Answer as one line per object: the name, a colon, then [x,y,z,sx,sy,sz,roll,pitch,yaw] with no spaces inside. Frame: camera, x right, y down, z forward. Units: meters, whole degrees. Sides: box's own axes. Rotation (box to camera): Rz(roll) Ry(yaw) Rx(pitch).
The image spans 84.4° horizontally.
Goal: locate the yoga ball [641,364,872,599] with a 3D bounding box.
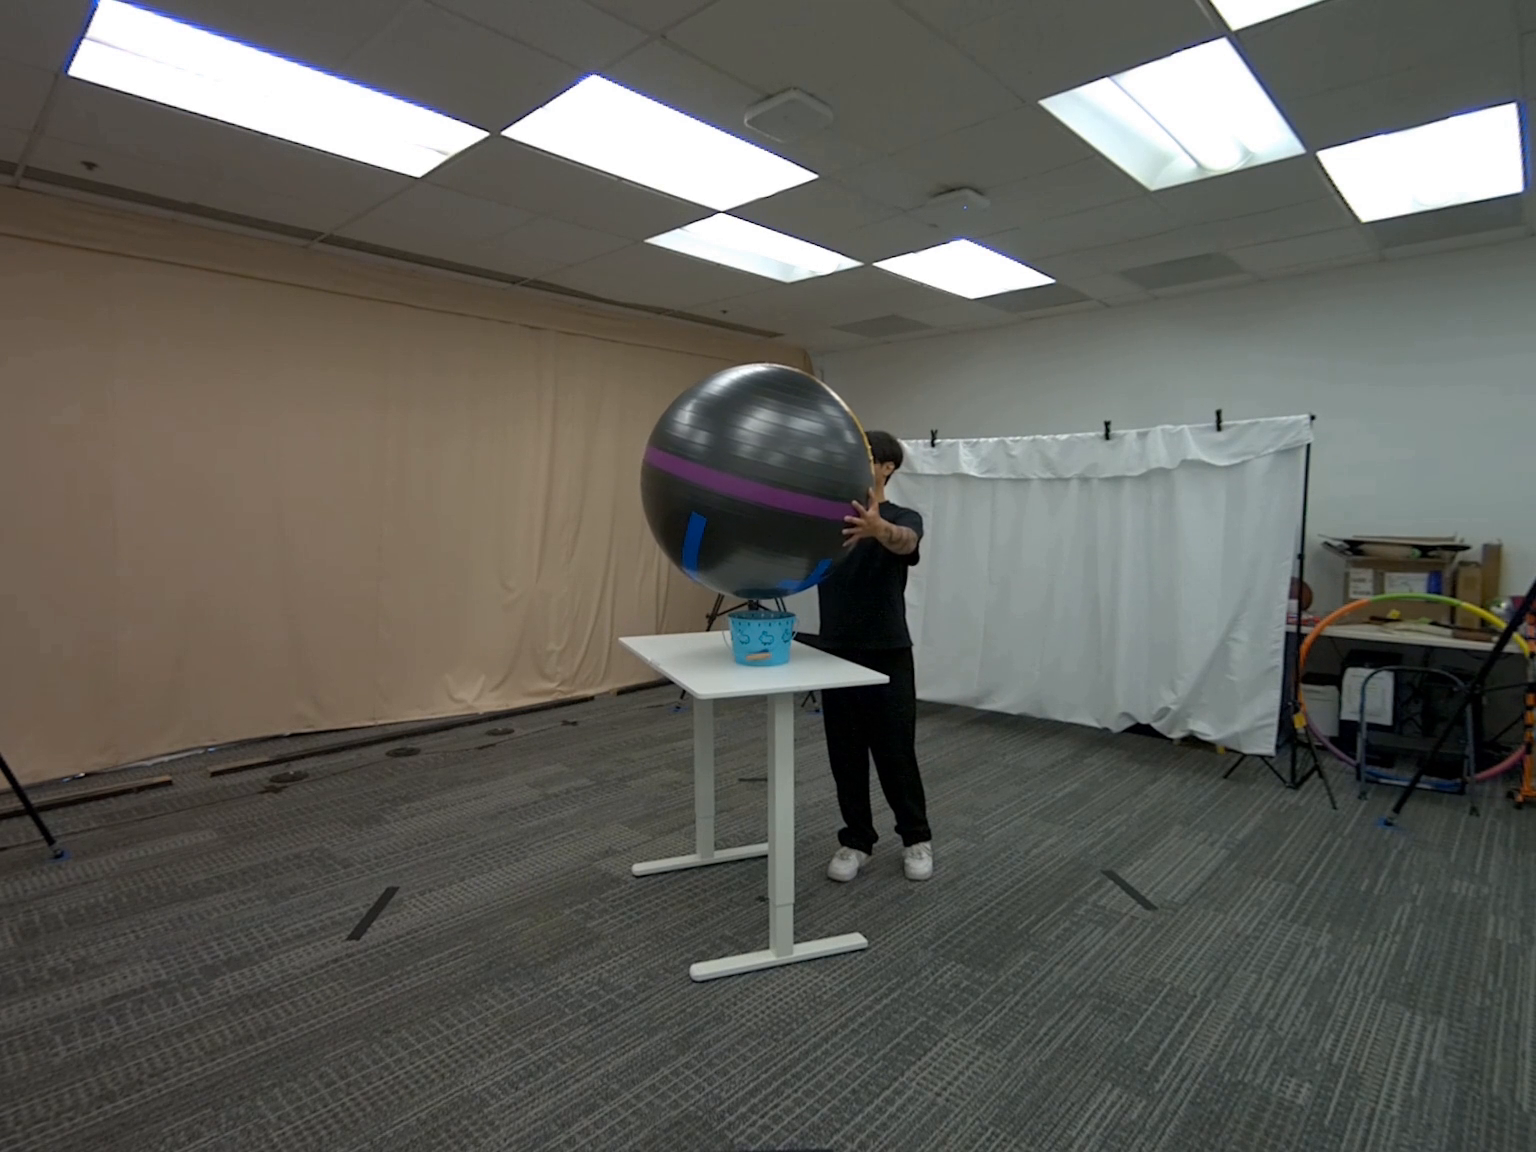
yoga ball: [-0.032,-0.304,2.758,0.757,0.756,0.760,0,4,-2]
